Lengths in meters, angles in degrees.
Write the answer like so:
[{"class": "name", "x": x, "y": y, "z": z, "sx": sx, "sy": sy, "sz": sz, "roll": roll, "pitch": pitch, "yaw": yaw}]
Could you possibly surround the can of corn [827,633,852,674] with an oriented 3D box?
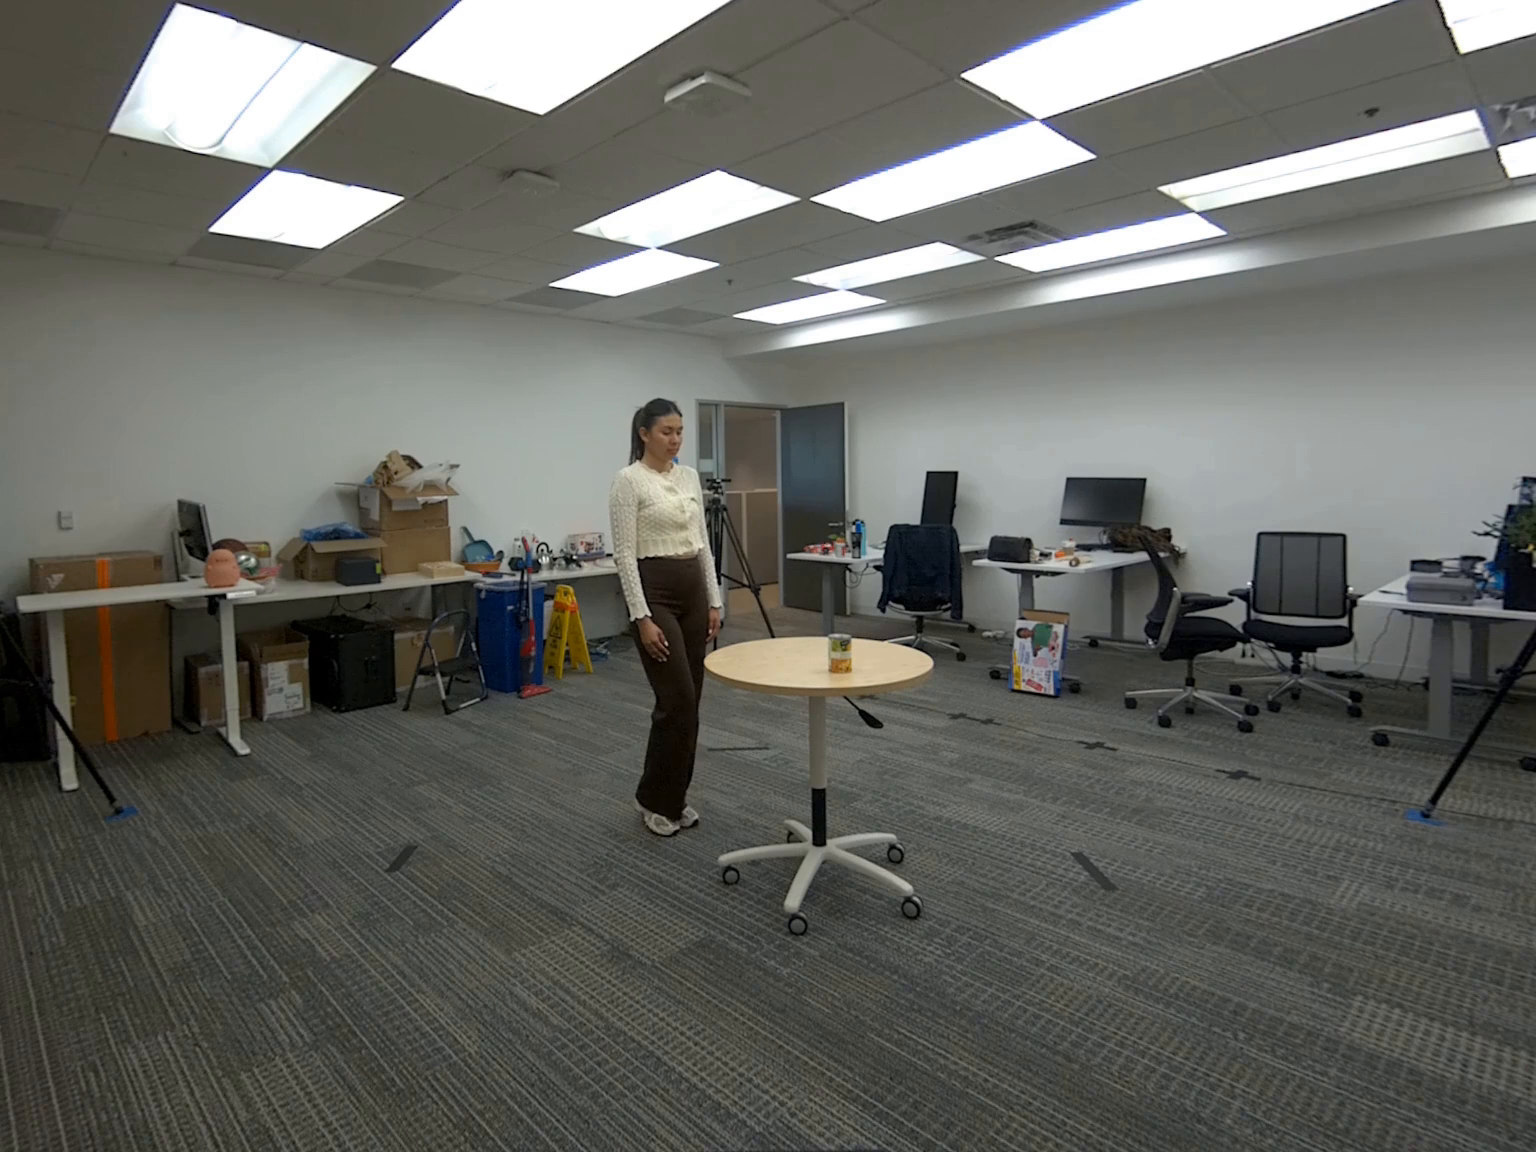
[{"class": "can of corn", "x": 0.240, "y": 0.249, "z": 2.710, "sx": 0.074, "sy": 0.110, "sz": 0.075, "roll": 0, "pitch": 6, "yaw": -2}]
